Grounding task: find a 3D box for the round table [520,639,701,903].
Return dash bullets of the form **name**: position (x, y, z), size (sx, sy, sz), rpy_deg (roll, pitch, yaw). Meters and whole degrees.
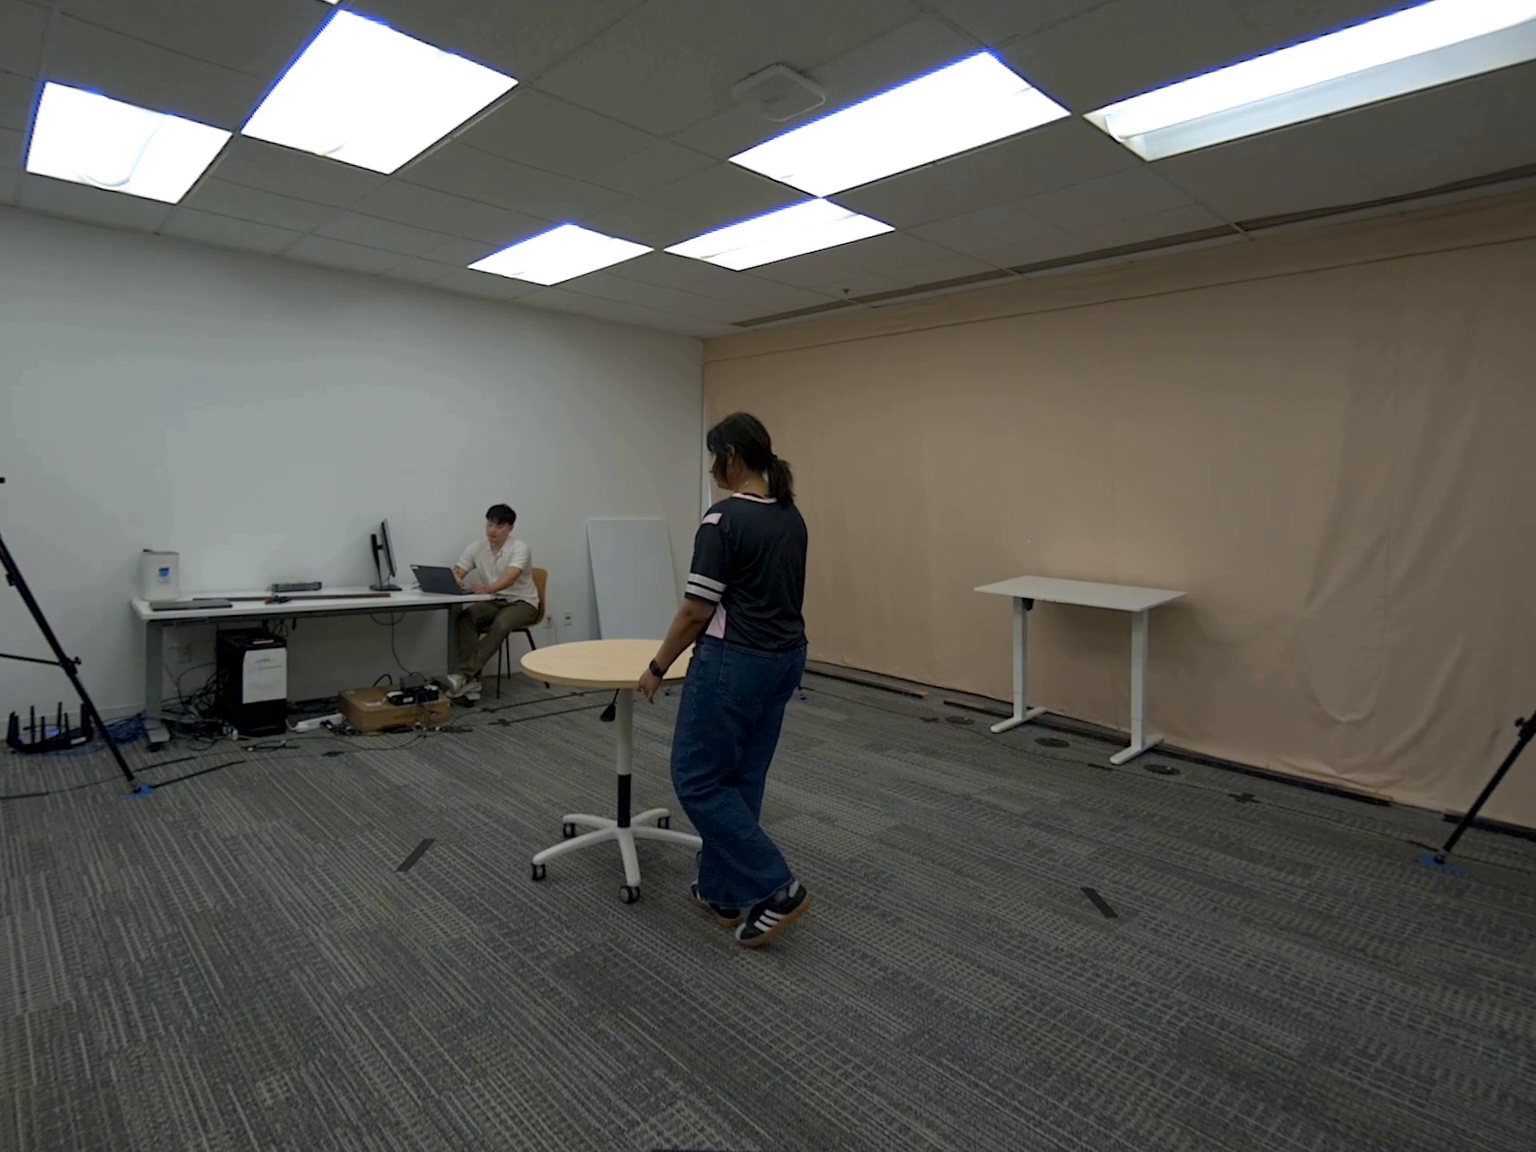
- **round table**: position (-0.545, 0.700, 3.179), size (0.763, 0.792, 0.767), rpy_deg (1, 4, -1)
